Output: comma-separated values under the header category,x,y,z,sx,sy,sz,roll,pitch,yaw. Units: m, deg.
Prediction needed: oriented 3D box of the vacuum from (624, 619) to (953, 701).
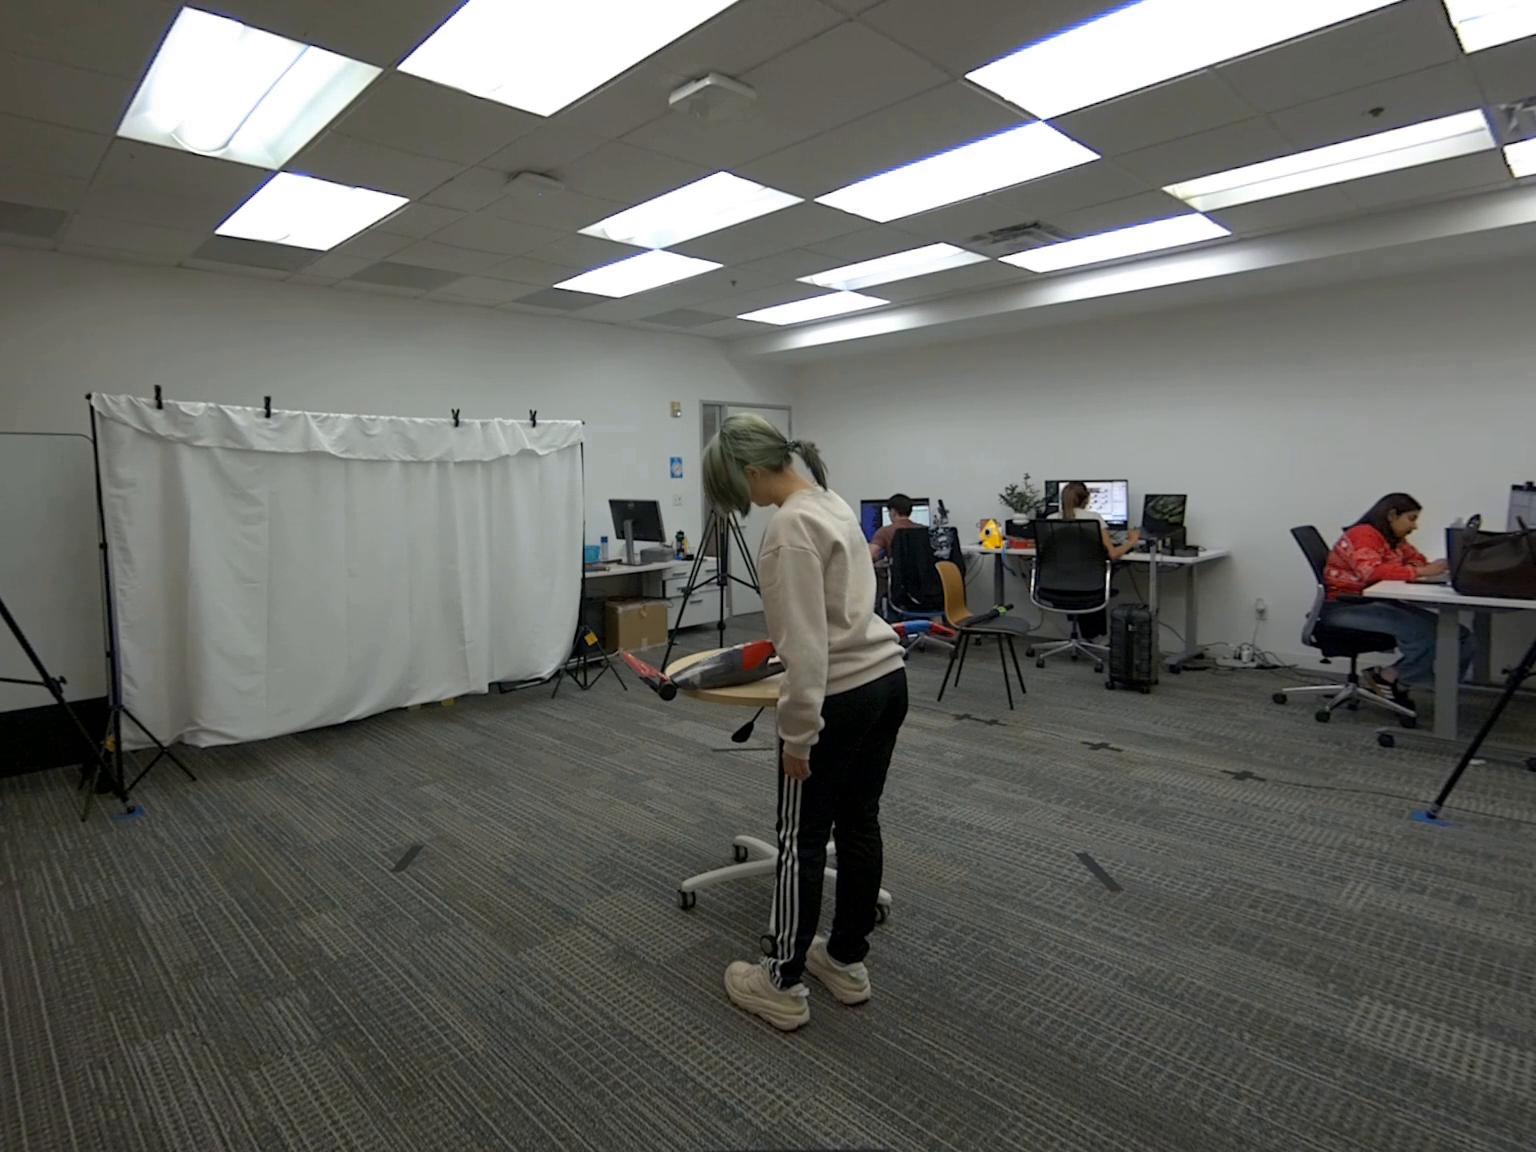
category,x,y,z,sx,sy,sz,roll,pitch,yaw
vacuum,0.124,0.263,2.662,1.030,0.143,0.259,-6,11,-21
